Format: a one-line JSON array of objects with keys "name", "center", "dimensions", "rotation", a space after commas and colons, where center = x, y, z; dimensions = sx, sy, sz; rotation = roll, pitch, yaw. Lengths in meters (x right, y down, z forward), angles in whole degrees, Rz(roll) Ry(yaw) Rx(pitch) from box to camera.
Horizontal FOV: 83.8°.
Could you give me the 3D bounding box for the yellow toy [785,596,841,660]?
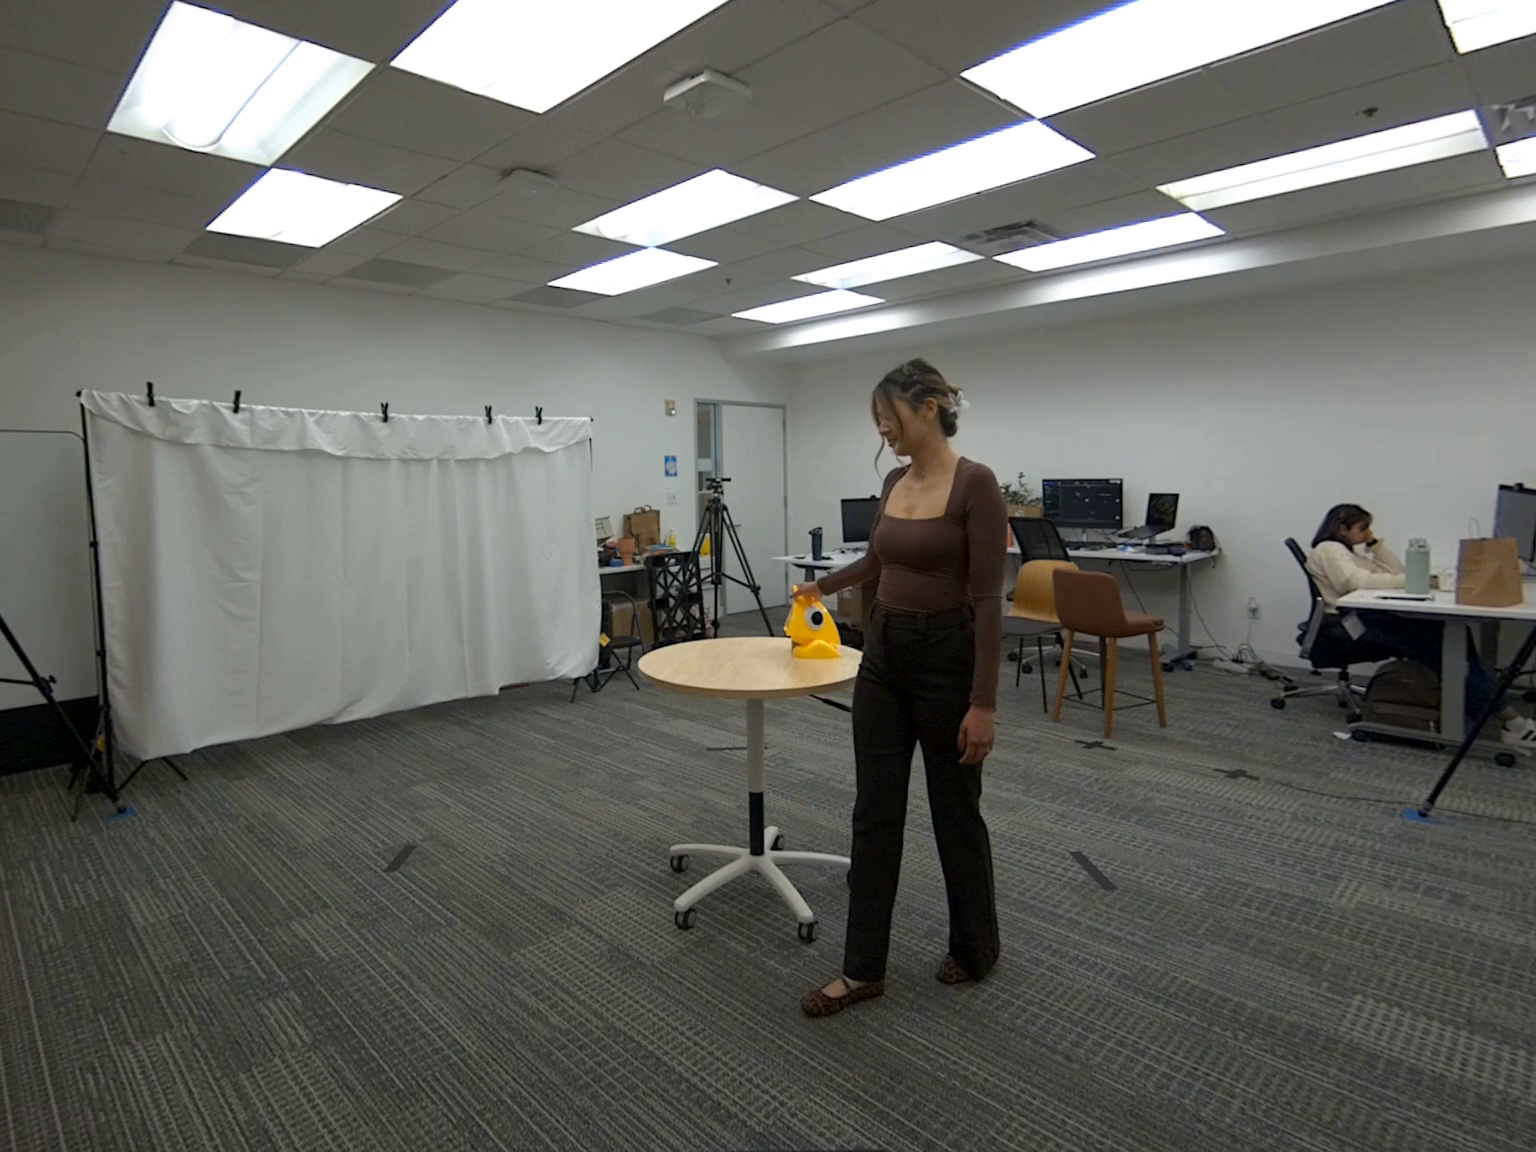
[{"name": "yellow toy", "center": [0.155, 0.148, 2.918], "dimensions": [0.193, 0.230, 0.205], "rotation": [0, 4, 1]}]
